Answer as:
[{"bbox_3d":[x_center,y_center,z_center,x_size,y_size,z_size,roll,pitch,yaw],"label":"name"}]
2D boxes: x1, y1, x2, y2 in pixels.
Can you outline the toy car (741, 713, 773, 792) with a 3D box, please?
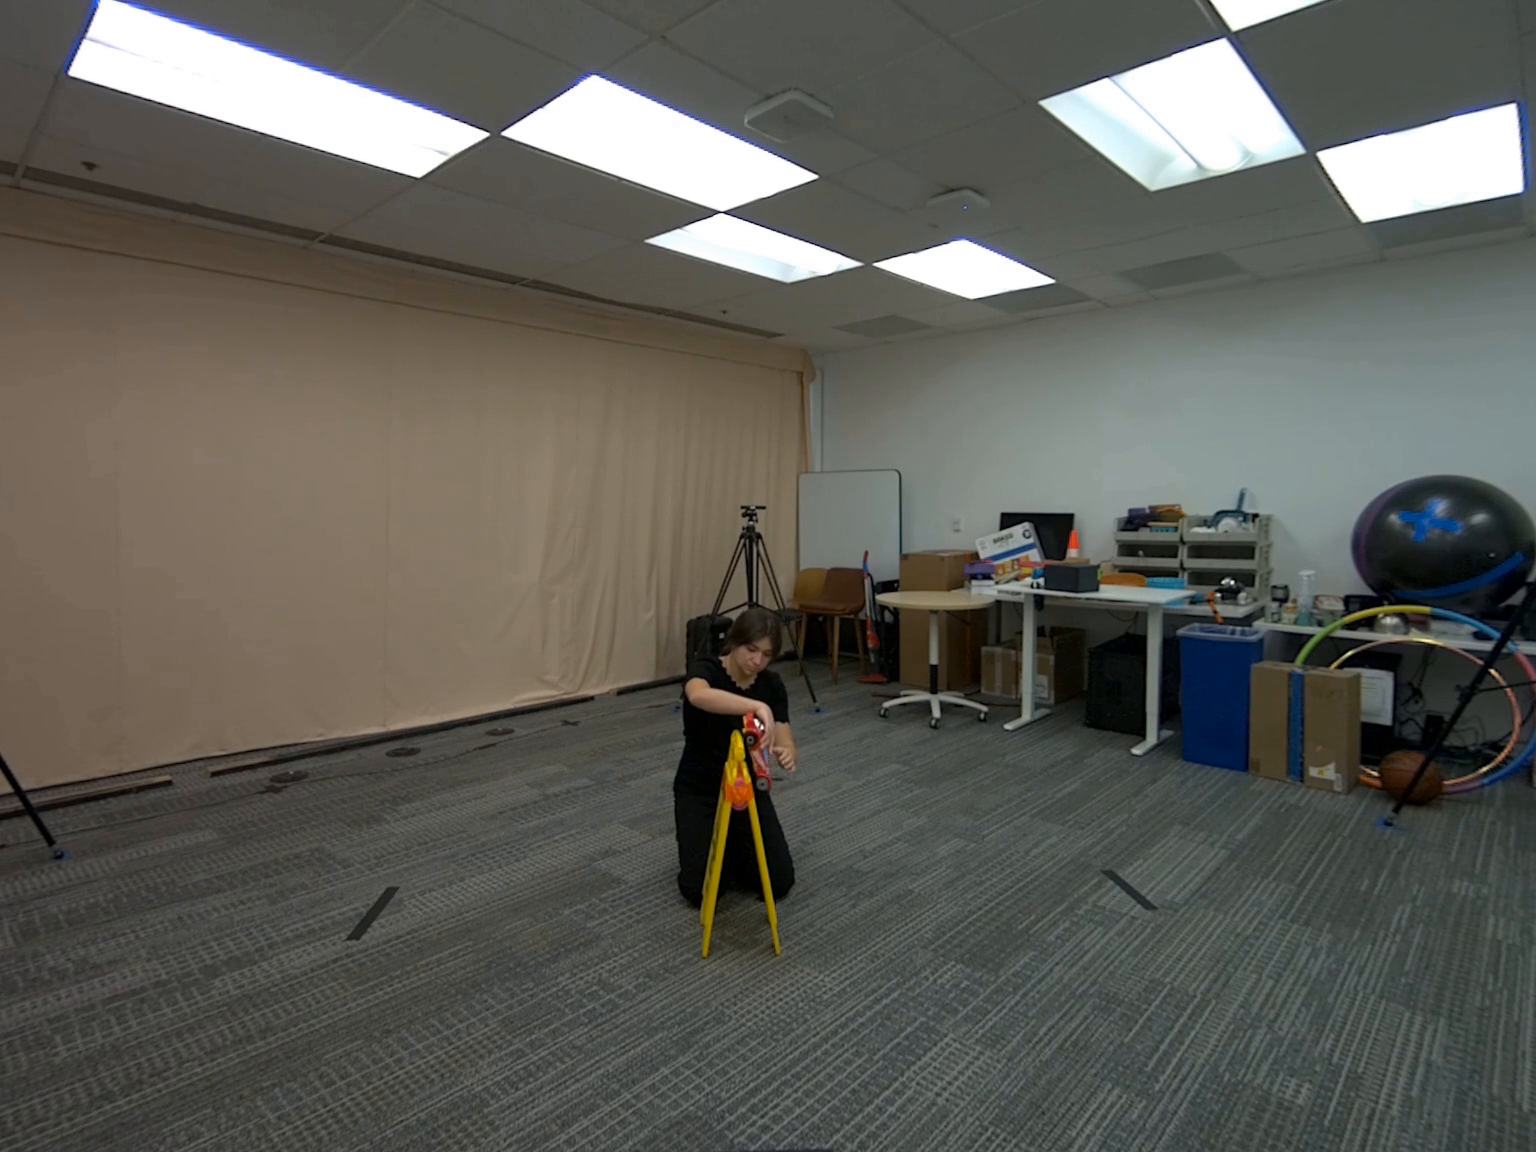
[{"bbox_3d":[-0.039,0.555,2.699,0.083,0.254,0.131,-7,4,-4],"label":"toy car"}]
